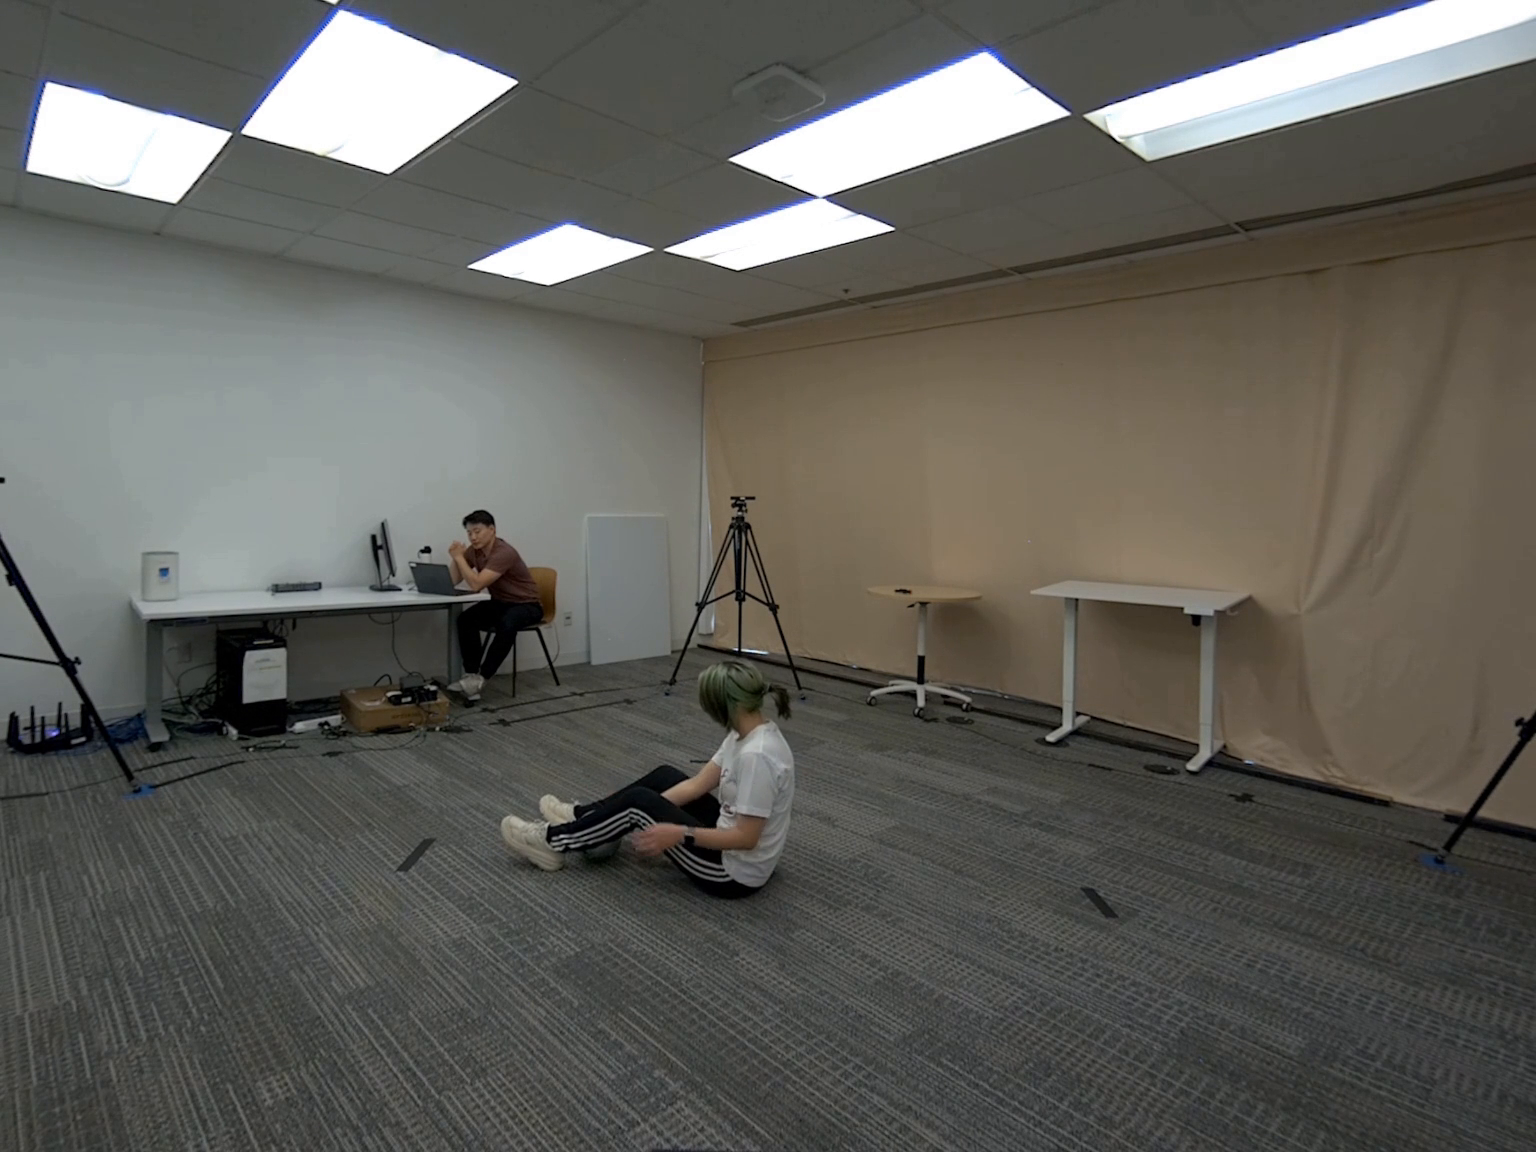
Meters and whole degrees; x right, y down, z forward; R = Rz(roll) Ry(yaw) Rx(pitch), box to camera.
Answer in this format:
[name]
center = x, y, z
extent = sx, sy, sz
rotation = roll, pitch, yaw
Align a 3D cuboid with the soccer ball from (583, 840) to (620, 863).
[soccer ball]
center = -0.637, 0.988, 3.211
extent = 0.187, 0.187, 0.188
rotation = 1, 4, -1
